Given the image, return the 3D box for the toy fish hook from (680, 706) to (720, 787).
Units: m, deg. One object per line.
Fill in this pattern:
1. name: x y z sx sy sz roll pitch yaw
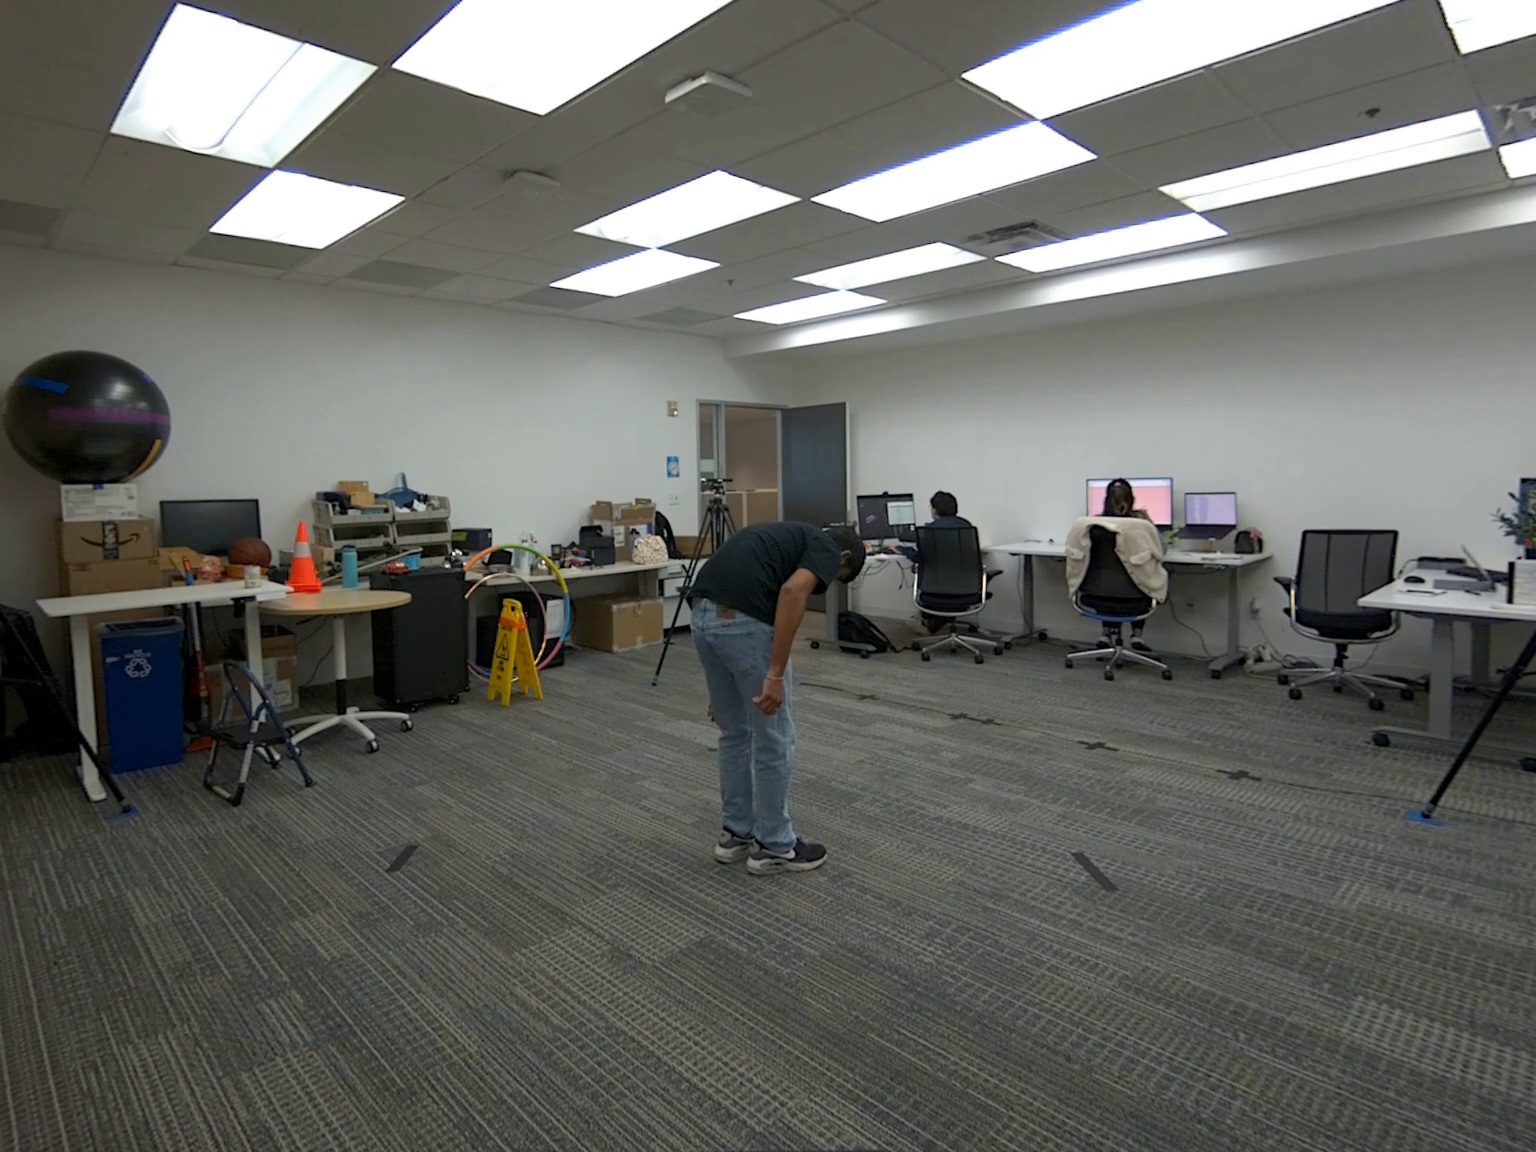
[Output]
1. toy fish hook: -0.138 0.761 3.558 0.224 0.496 0.049 -33 16 -6
